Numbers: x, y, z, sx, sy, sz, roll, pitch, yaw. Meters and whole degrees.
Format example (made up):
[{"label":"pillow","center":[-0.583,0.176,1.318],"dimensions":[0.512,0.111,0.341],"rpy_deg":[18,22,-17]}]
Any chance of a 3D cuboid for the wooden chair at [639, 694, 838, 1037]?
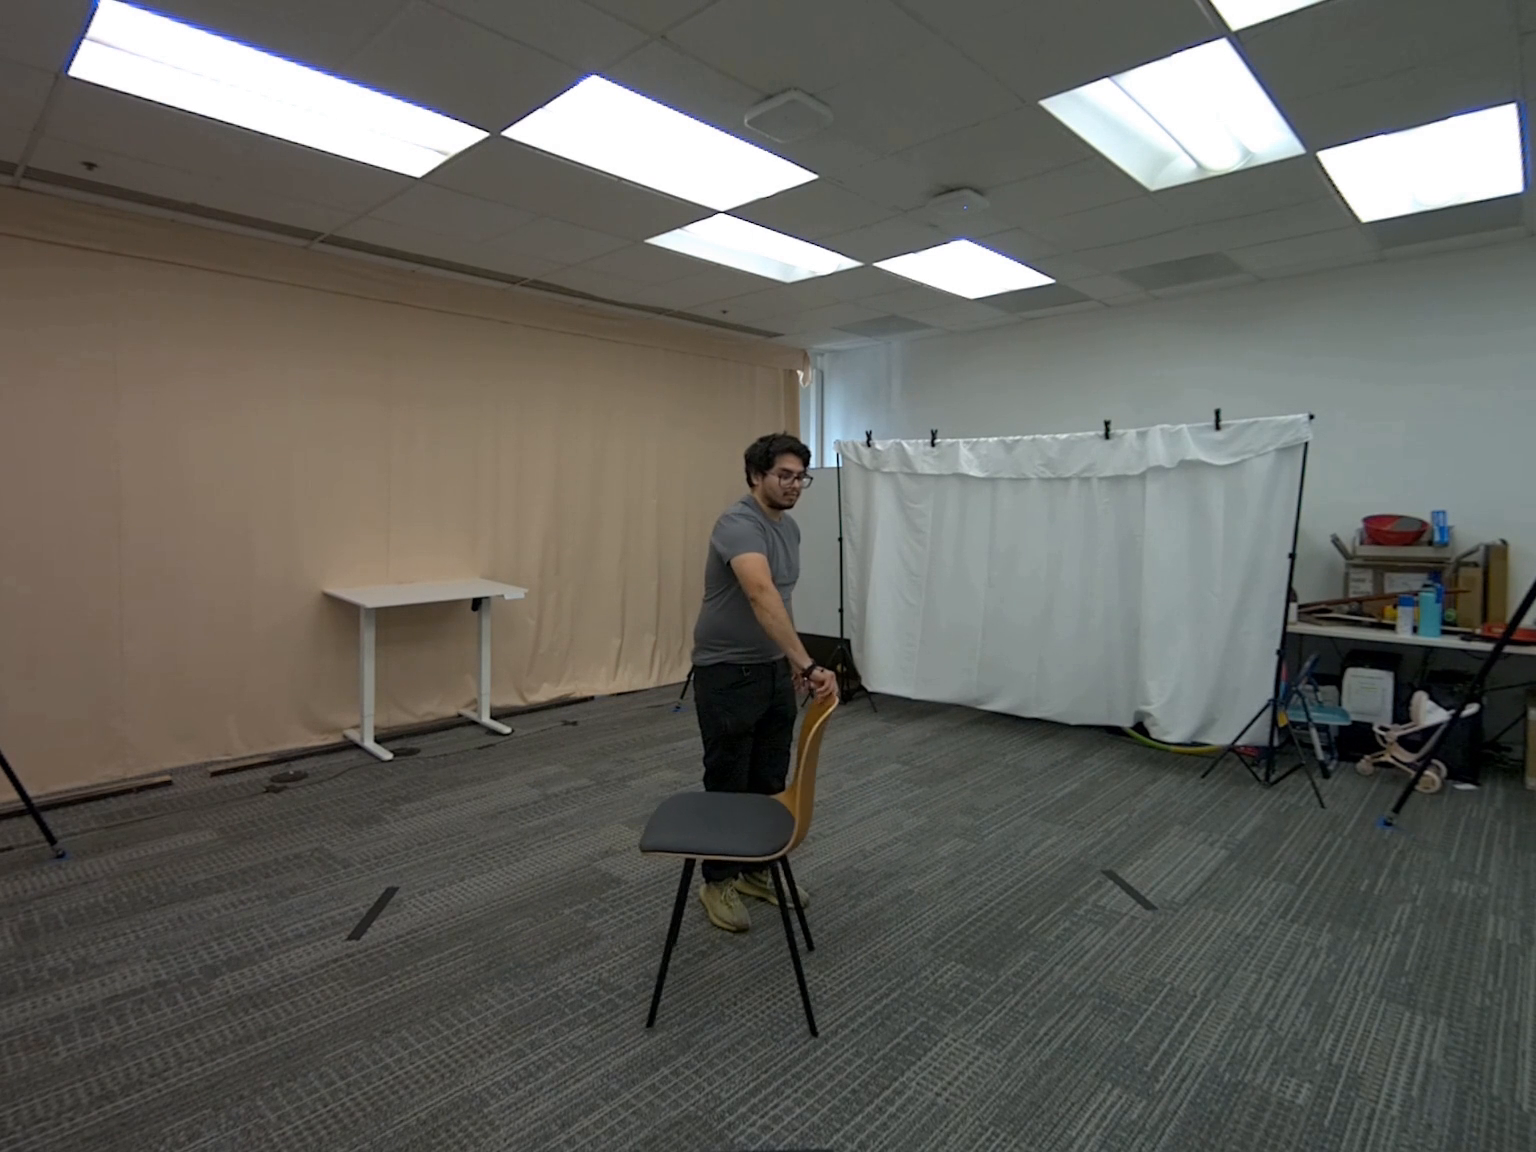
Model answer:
[{"label":"wooden chair","center":[-0.101,0.760,2.425],"dimensions":[0.526,0.875,0.476],"rpy_deg":[5,4,4]}]
